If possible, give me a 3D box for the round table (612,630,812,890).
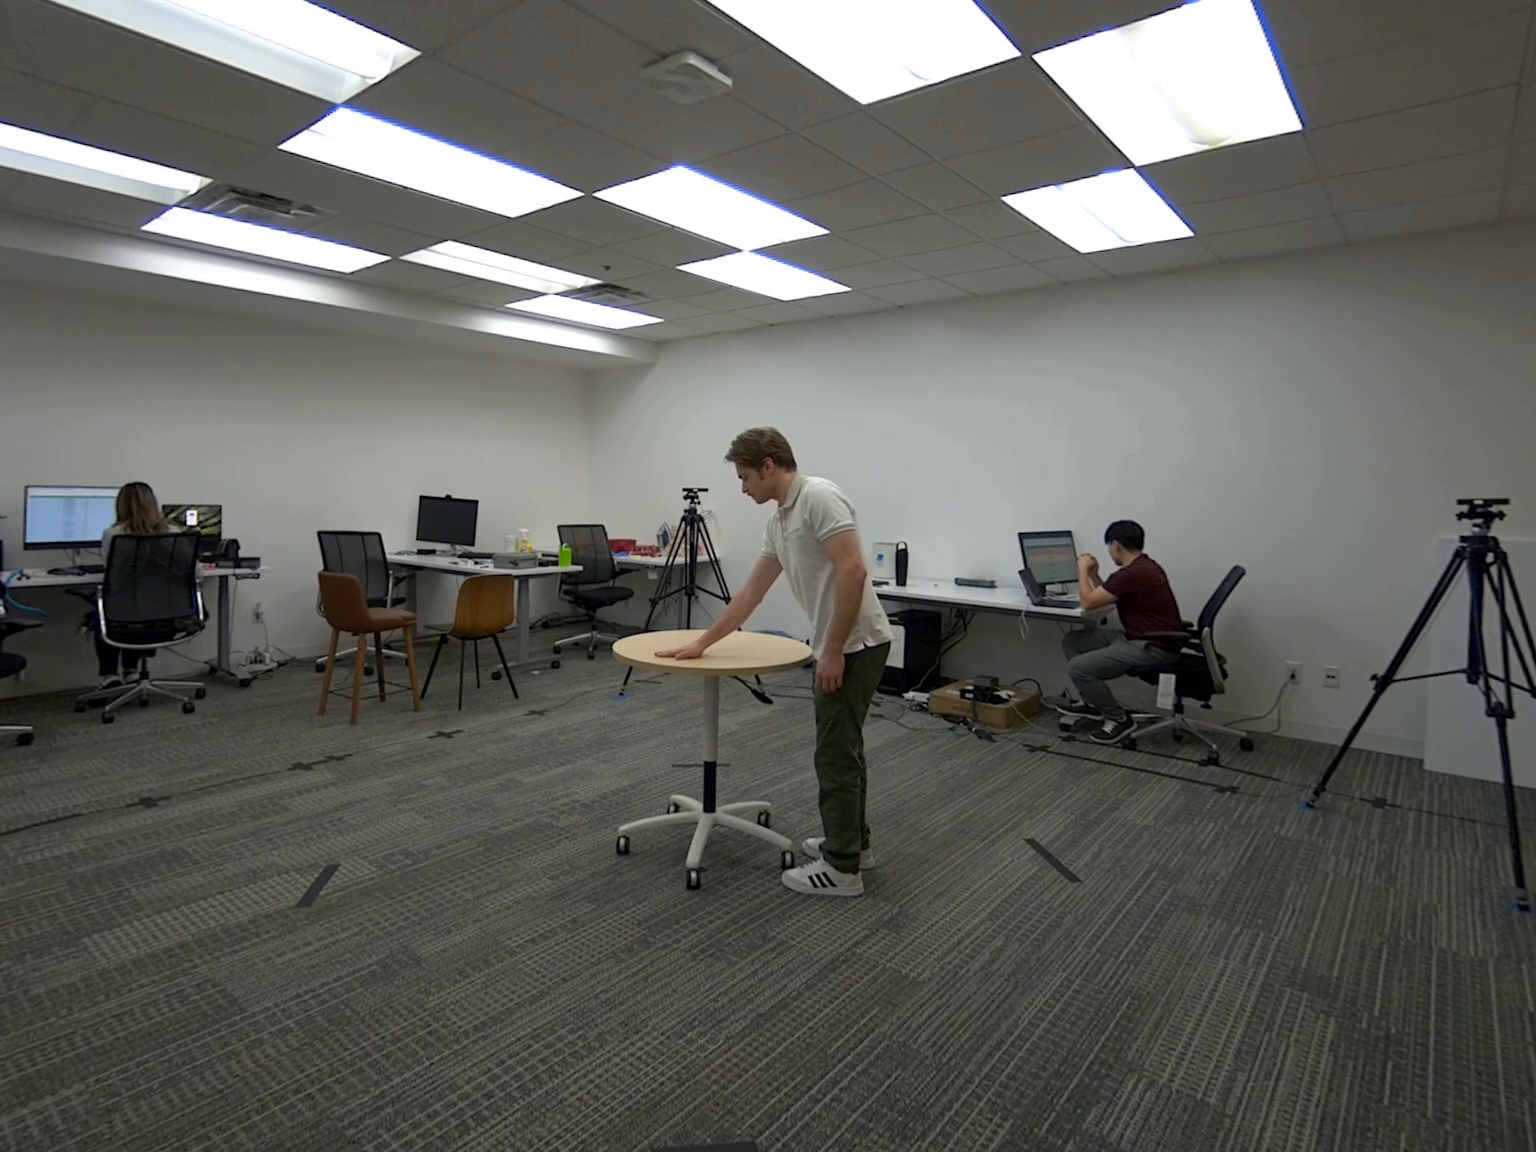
[{"bbox_3d":[-0.240,0.656,3.304,0.784,0.784,0.789,1,4,-2],"label":"round table"}]
